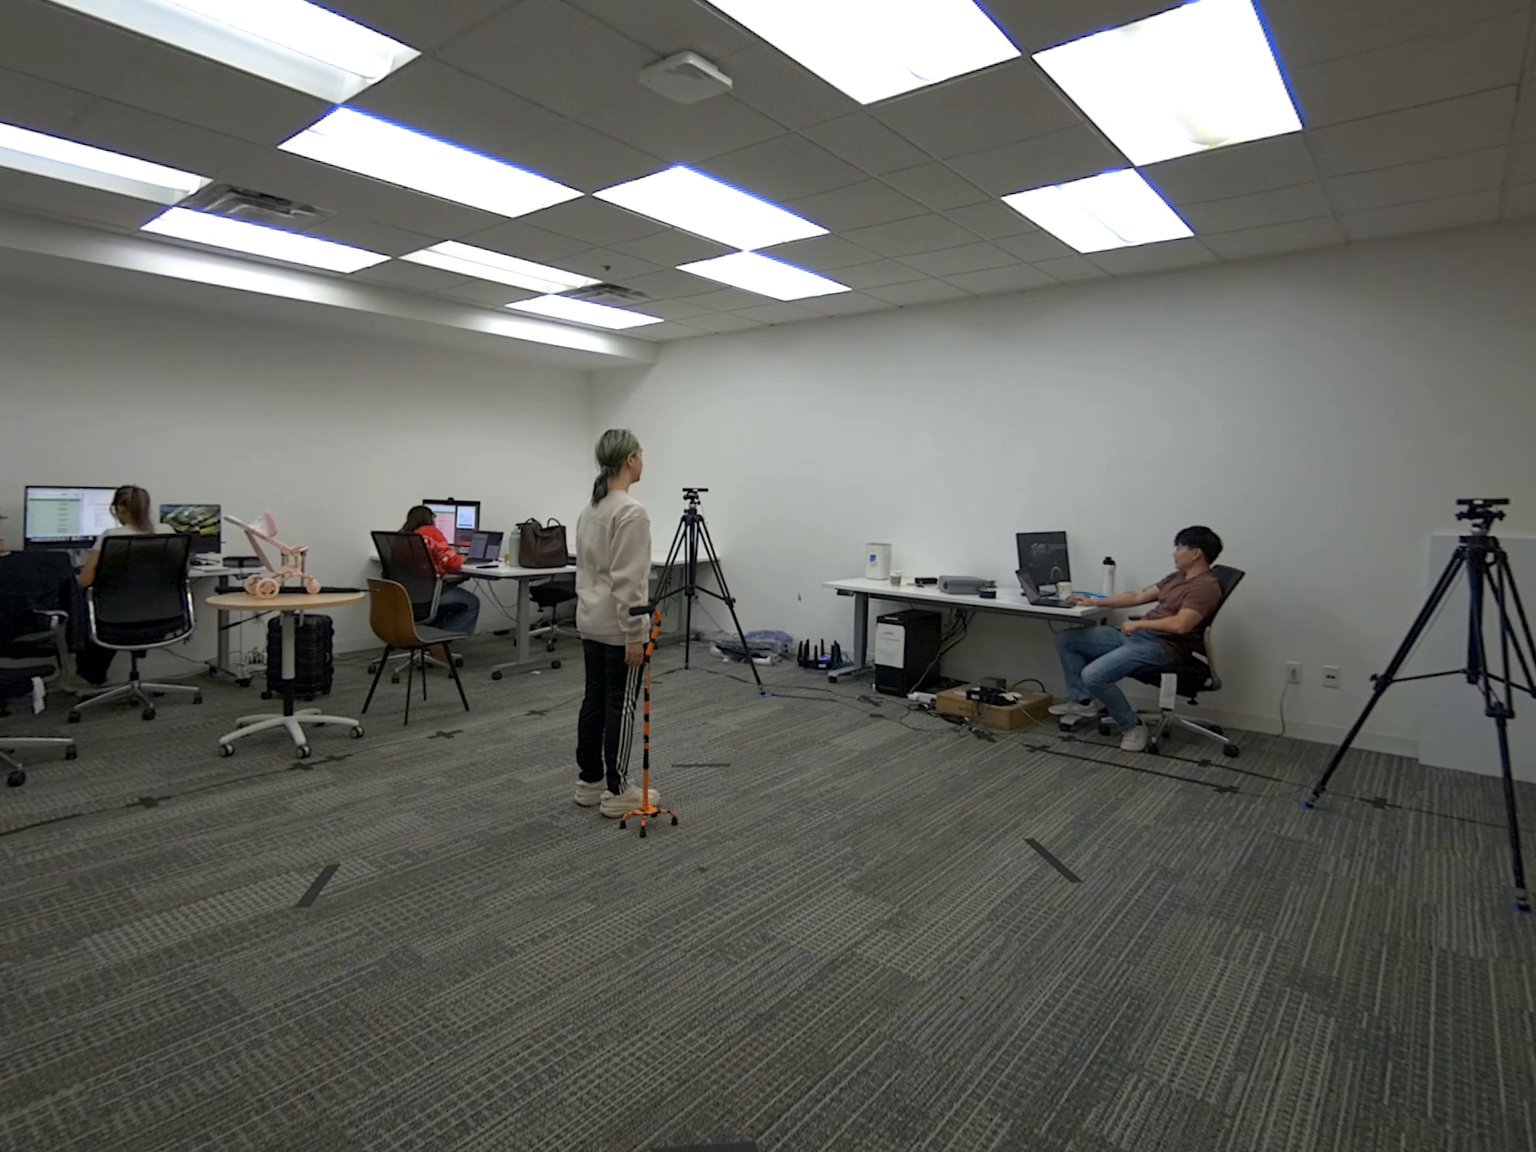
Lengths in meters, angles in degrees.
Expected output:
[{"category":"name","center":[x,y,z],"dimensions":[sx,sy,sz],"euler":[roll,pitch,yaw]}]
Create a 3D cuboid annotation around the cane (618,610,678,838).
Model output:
[{"category":"cane","center":[-0.493,0.576,3.482],"dimensions":[0.157,0.906,0.200],"euler":[3,3,42]}]
